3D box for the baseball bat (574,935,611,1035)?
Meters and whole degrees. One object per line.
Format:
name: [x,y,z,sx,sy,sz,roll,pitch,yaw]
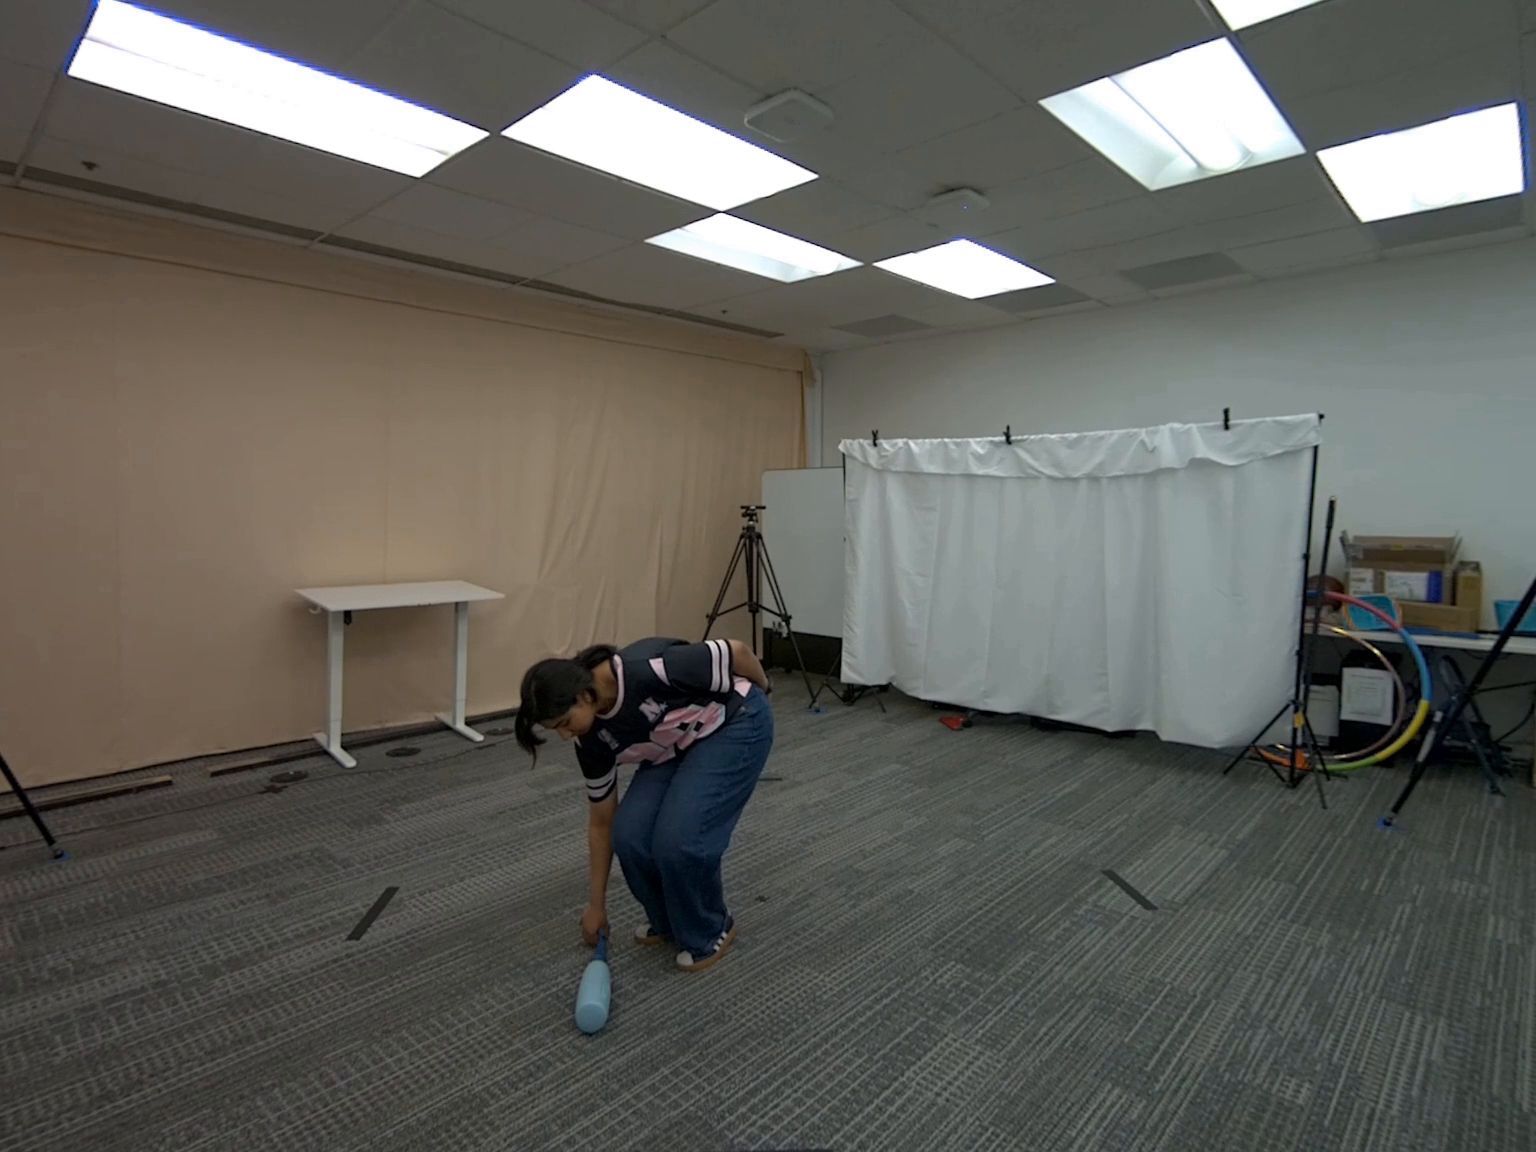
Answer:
baseball bat: [-0.495,1.152,2.468,0.088,0.089,0.546,0,1,-7]
